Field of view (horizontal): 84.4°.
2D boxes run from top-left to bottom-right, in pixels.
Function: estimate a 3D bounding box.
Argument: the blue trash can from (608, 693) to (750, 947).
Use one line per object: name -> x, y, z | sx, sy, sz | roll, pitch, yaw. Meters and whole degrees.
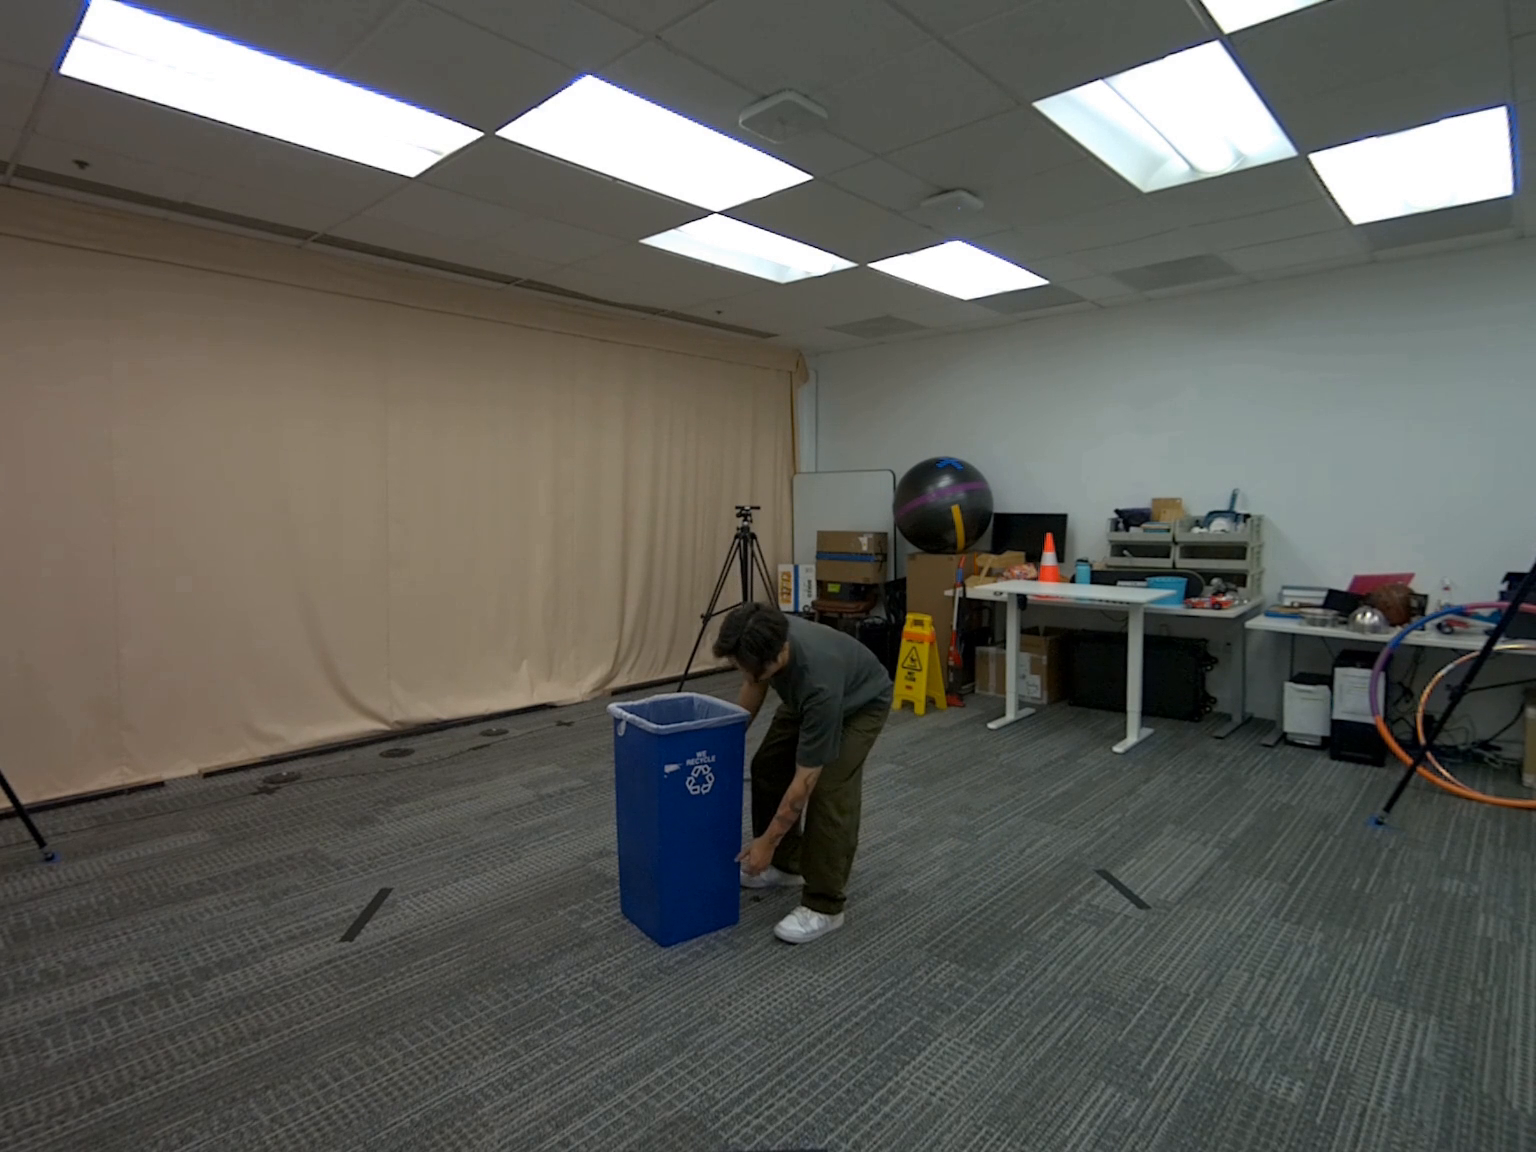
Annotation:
blue trash can -> -0.308, 0.804, 2.845 | 0.367, 0.712, 0.386 | -2, 4, -37
